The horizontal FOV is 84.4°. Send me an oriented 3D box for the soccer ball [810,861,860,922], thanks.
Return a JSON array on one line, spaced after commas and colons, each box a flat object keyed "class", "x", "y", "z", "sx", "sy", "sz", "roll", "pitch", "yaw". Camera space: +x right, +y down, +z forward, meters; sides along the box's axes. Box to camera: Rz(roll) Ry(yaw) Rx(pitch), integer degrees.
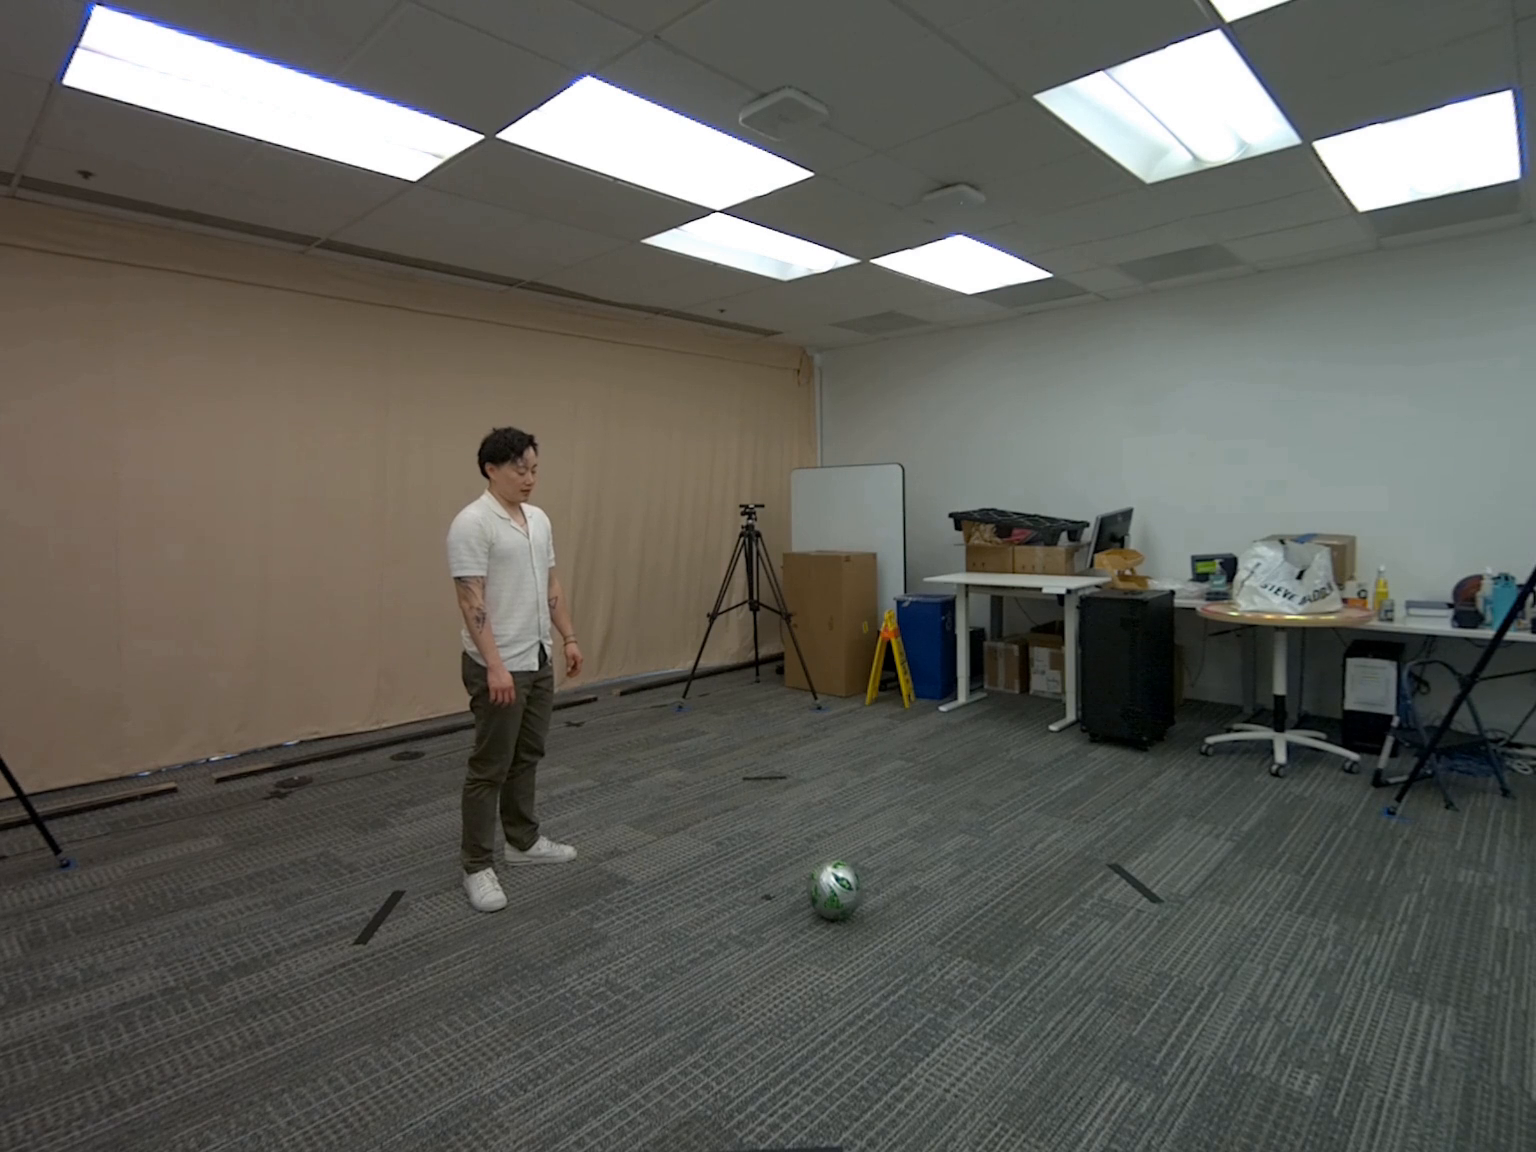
[{"class": "soccer ball", "x": 0.228, "y": 1.047, "z": 2.836, "sx": 0.187, "sy": 0.187, "sz": 0.188, "roll": -1, "pitch": 4, "yaw": -2}]
